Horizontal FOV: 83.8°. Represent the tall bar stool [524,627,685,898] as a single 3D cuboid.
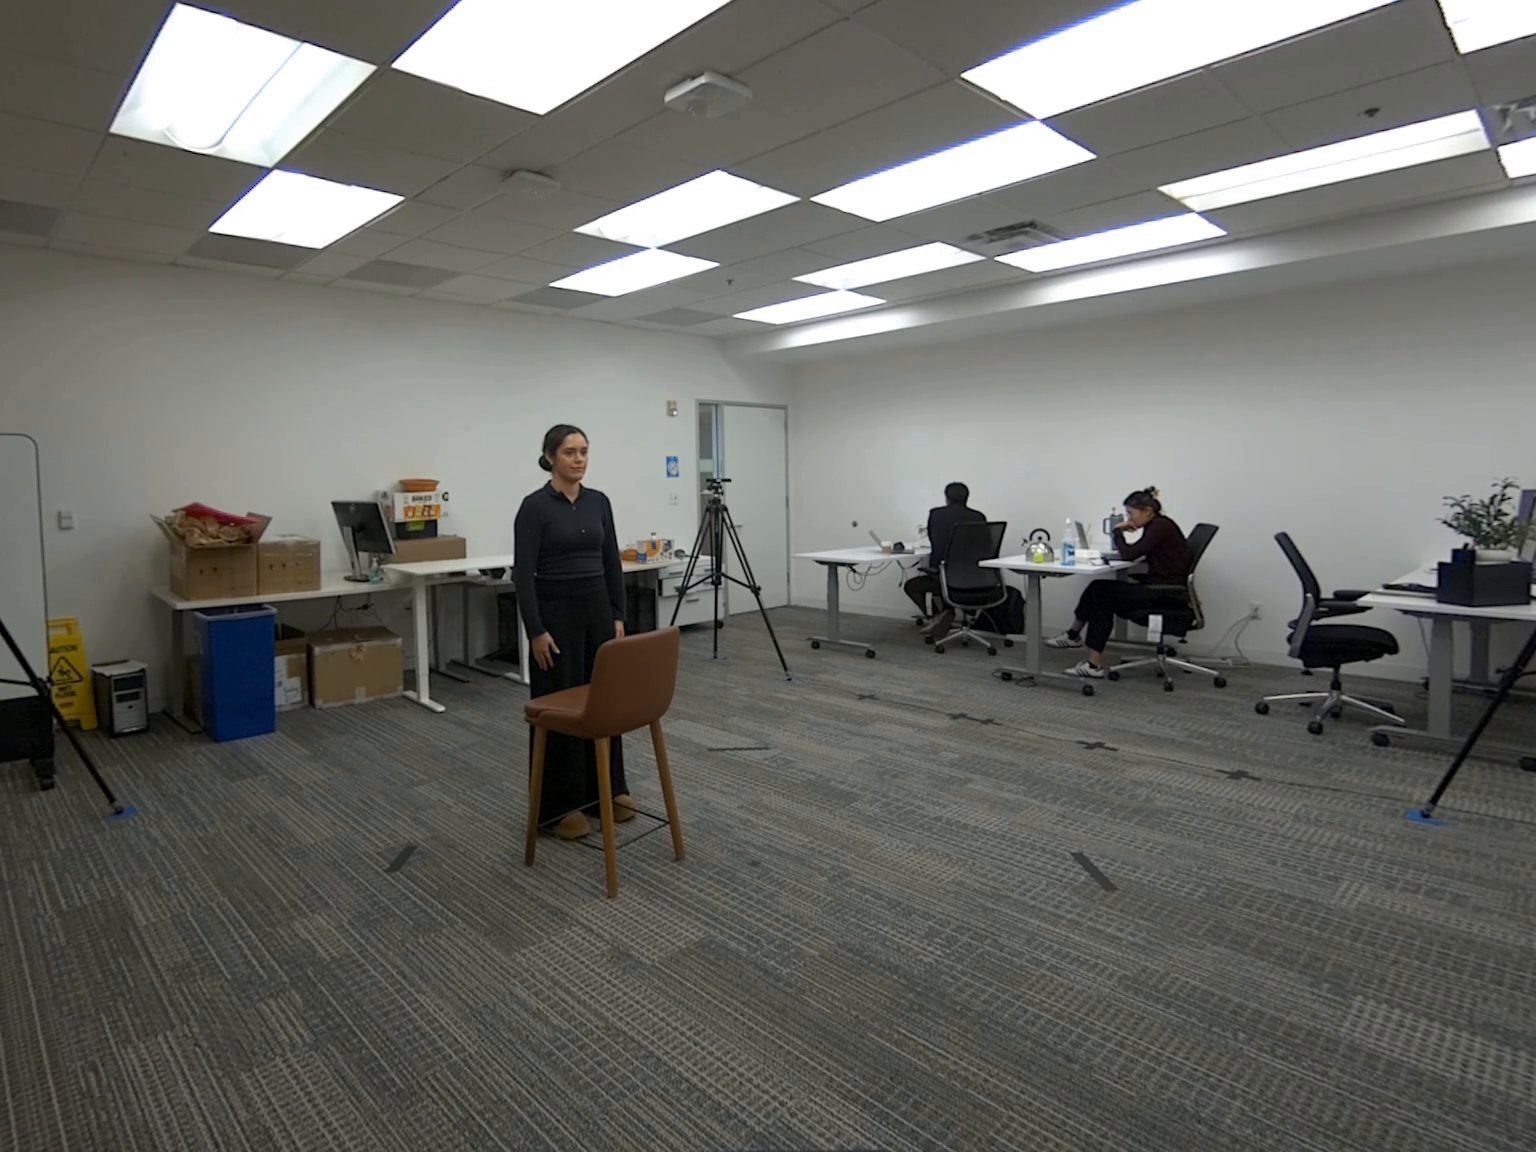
[{"bbox_3d":[-0.602,0.619,3.111,0.481,0.886,0.445,3,6,37],"label":"tall bar stool"}]
